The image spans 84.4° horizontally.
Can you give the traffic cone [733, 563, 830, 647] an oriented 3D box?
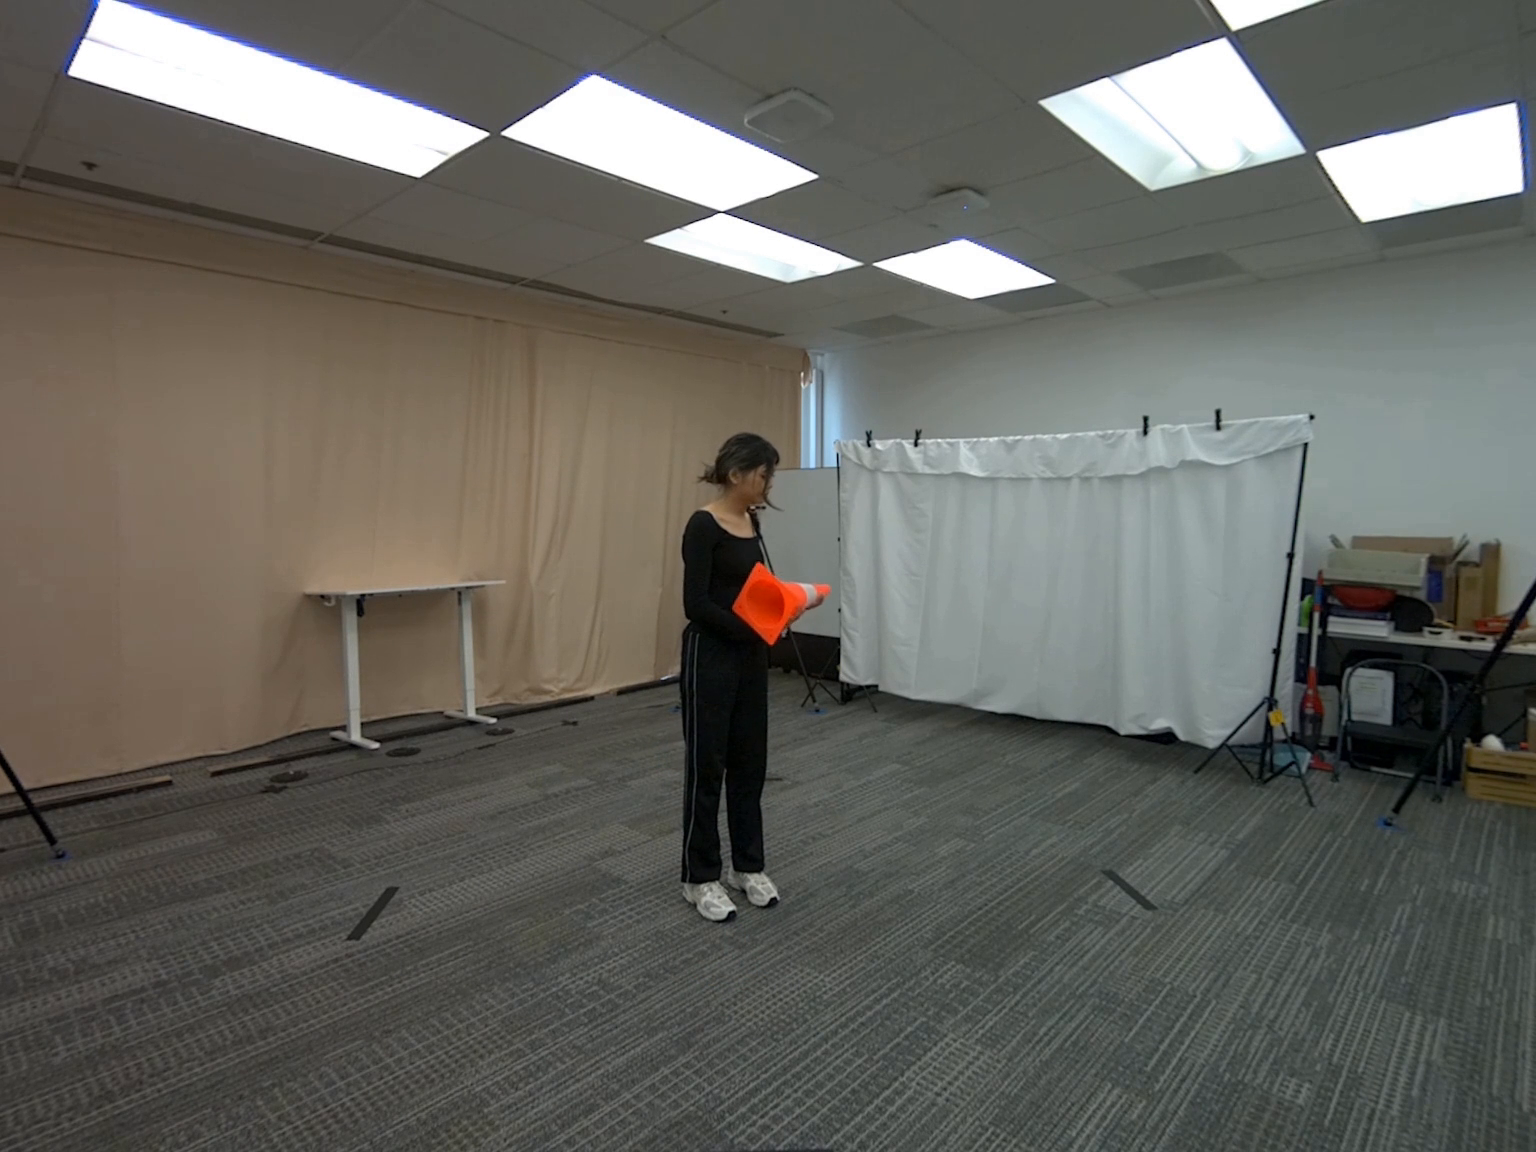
[{"bbox_3d":[0.100,0.072,2.880,0.211,0.203,0.373,42,28,26],"label":"traffic cone"}]
